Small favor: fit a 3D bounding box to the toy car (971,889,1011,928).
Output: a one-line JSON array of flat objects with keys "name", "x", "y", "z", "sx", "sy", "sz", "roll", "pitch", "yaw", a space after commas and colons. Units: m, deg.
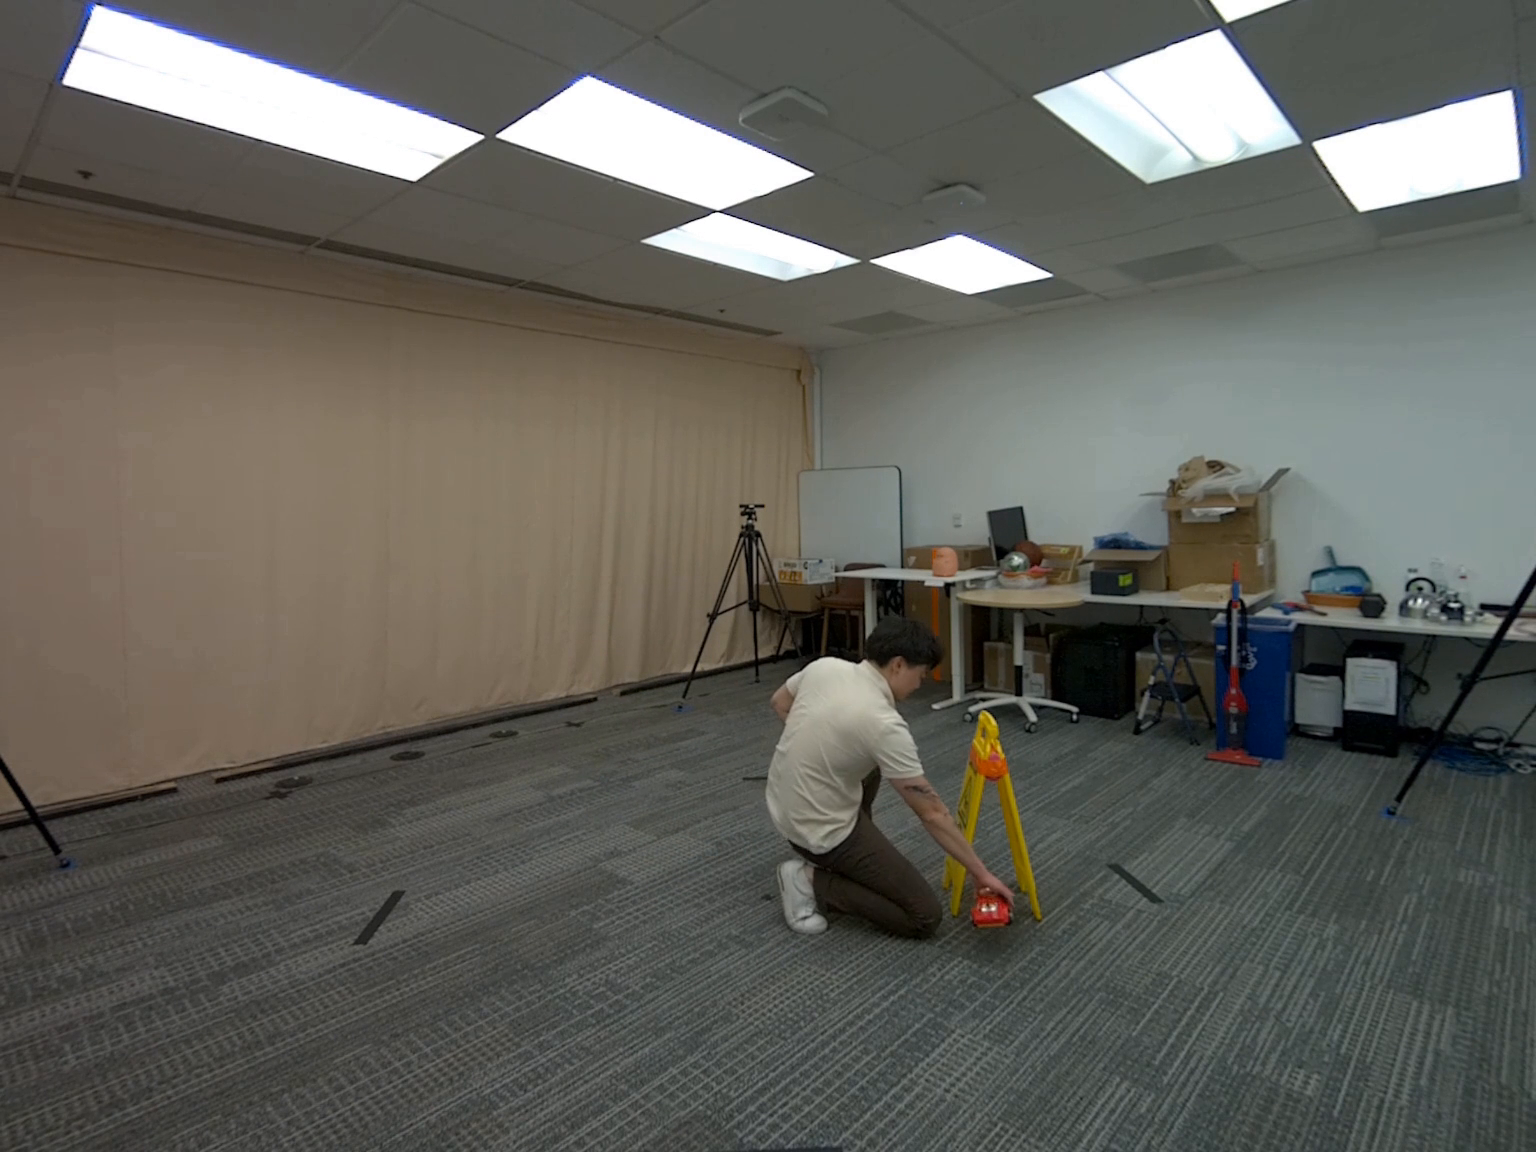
[{"name": "toy car", "x": 0.700, "y": 1.044, "z": 2.654, "sx": 0.132, "sy": 0.084, "sz": 0.248, "roll": -14, "pitch": -11, "yaw": 16}]
